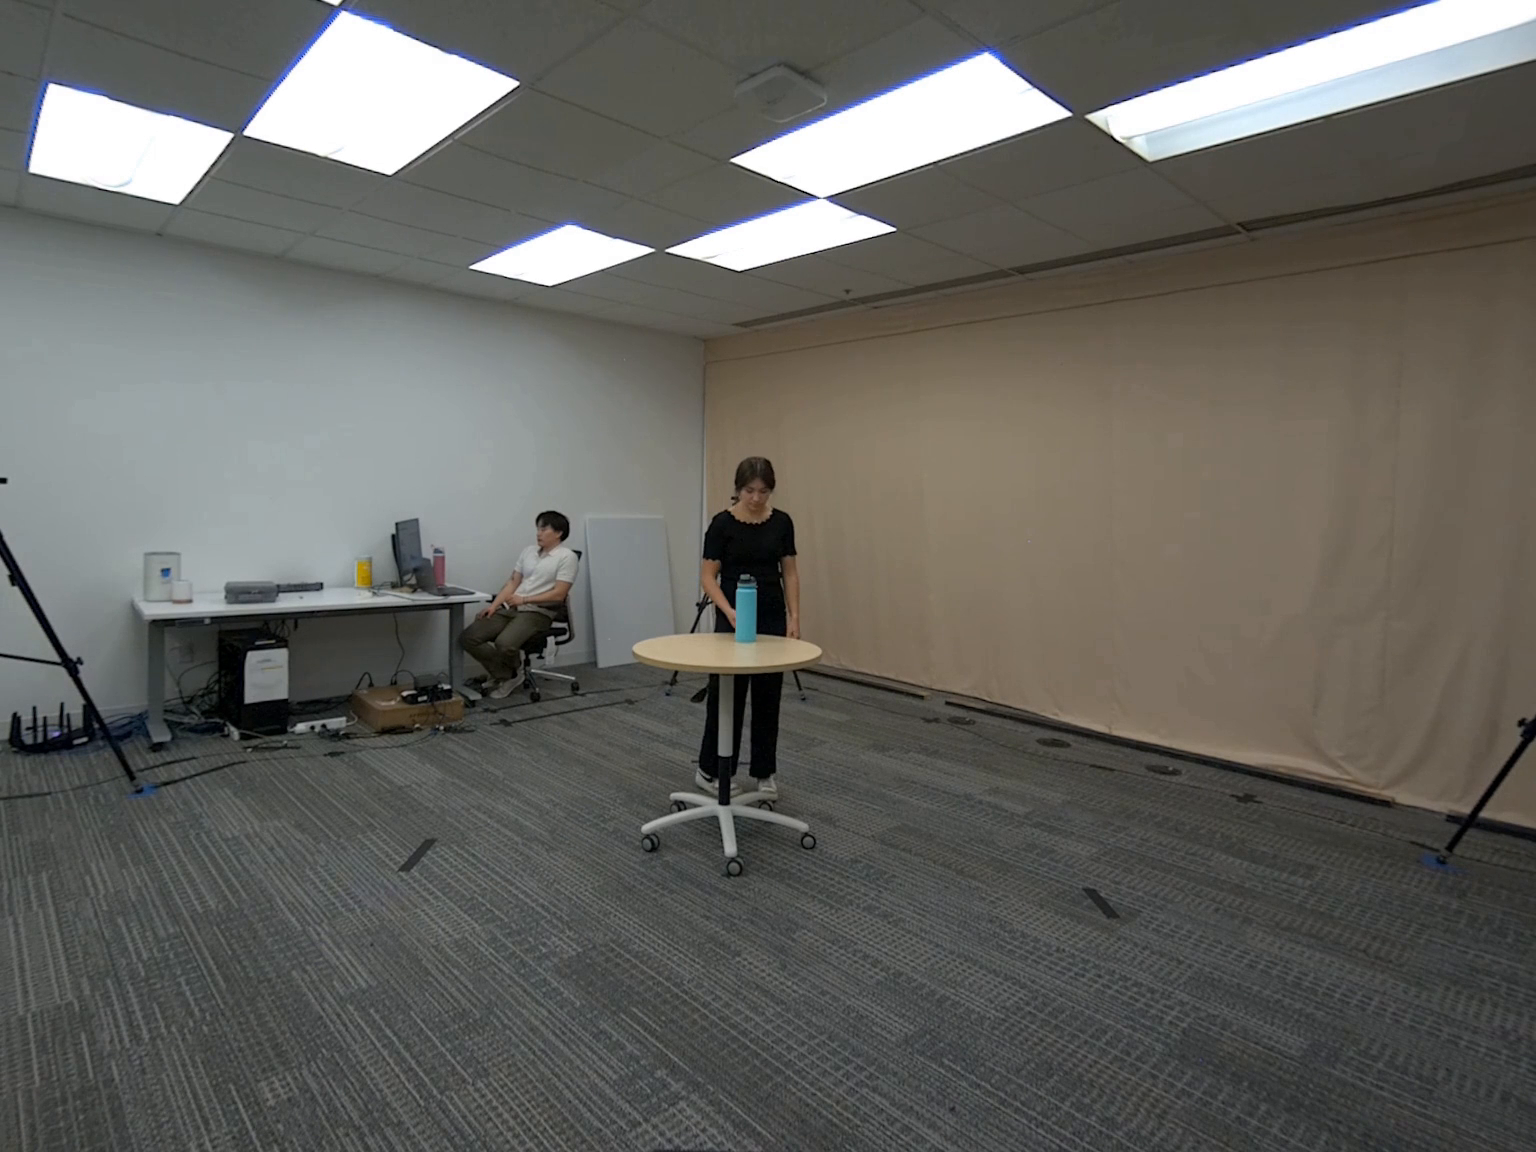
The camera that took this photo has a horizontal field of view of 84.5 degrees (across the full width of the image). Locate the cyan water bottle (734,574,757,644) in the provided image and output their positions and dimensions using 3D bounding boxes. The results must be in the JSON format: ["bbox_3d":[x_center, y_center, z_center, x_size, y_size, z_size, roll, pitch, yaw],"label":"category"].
[{"bbox_3d":[-0.096,0.137,3.591,0.092,0.283,0.092,3,2,-2],"label":"cyan water bottle"}]
